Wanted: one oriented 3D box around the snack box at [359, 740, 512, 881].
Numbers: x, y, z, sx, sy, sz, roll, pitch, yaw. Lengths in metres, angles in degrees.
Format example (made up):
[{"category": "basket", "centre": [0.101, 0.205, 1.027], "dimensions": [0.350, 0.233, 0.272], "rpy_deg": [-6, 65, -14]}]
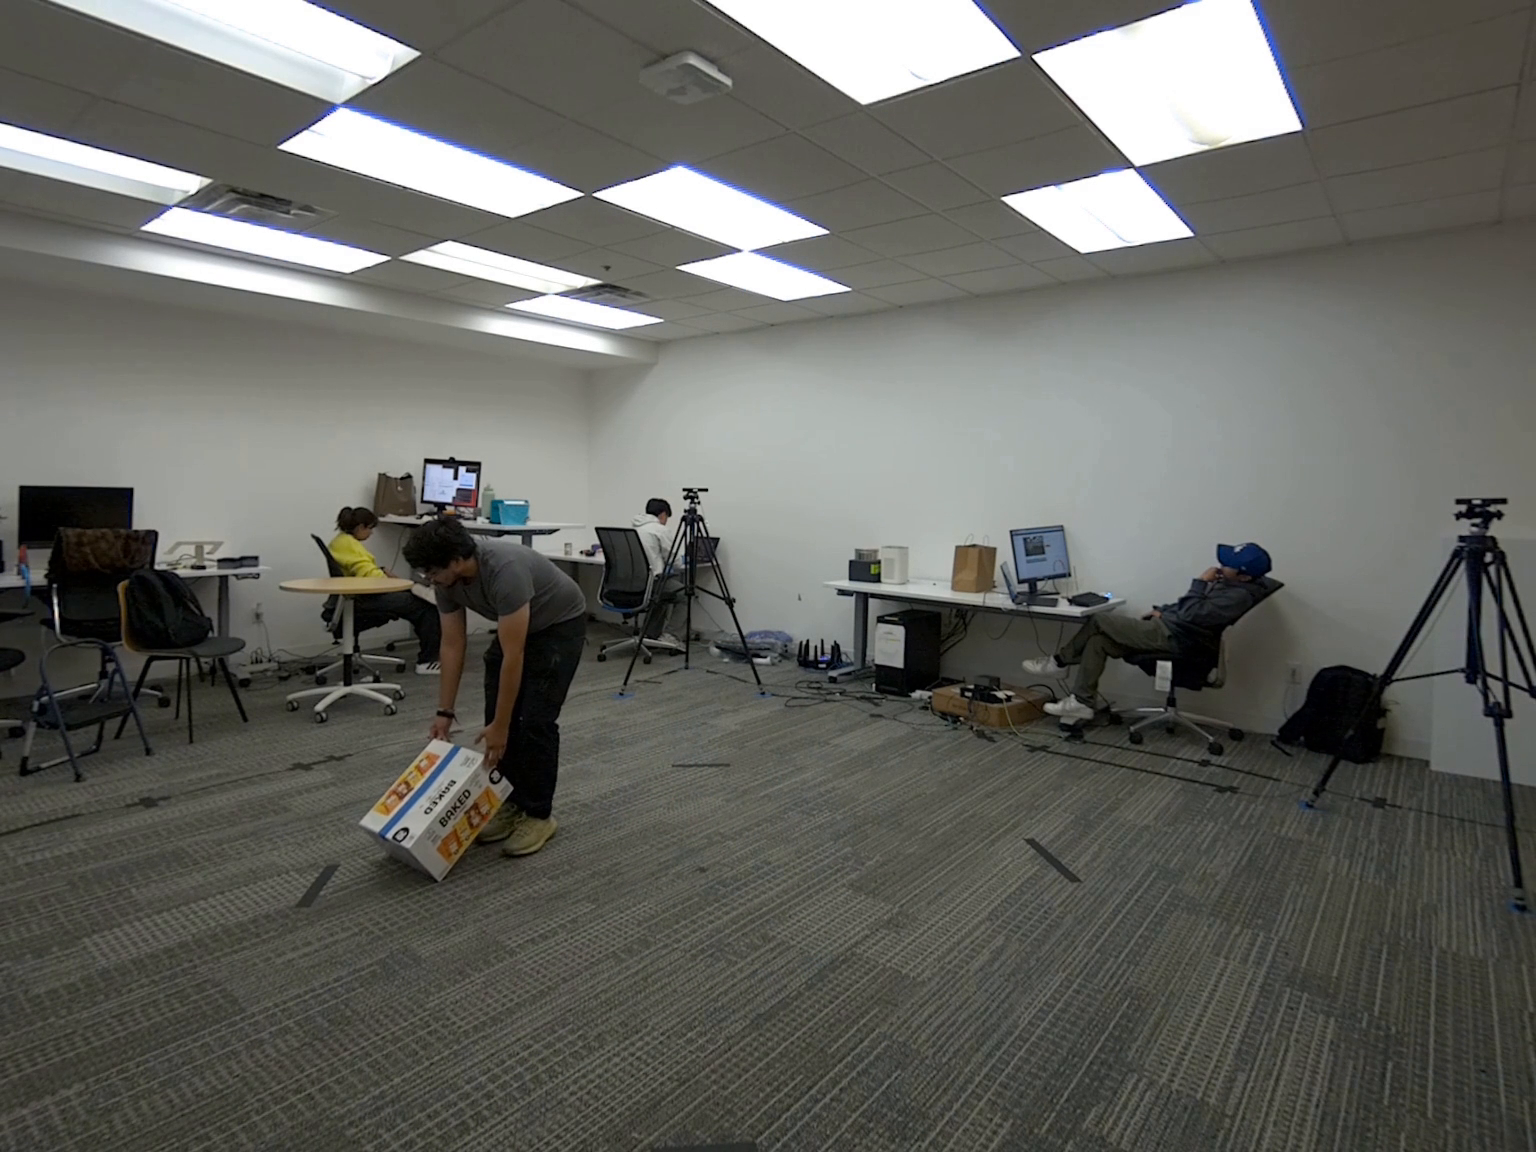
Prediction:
[{"category": "snack box", "centre": [-1.234, 0.851, 3.141], "dimensions": [0.351, 0.198, 0.407], "rpy_deg": [3, 43, 37]}]
